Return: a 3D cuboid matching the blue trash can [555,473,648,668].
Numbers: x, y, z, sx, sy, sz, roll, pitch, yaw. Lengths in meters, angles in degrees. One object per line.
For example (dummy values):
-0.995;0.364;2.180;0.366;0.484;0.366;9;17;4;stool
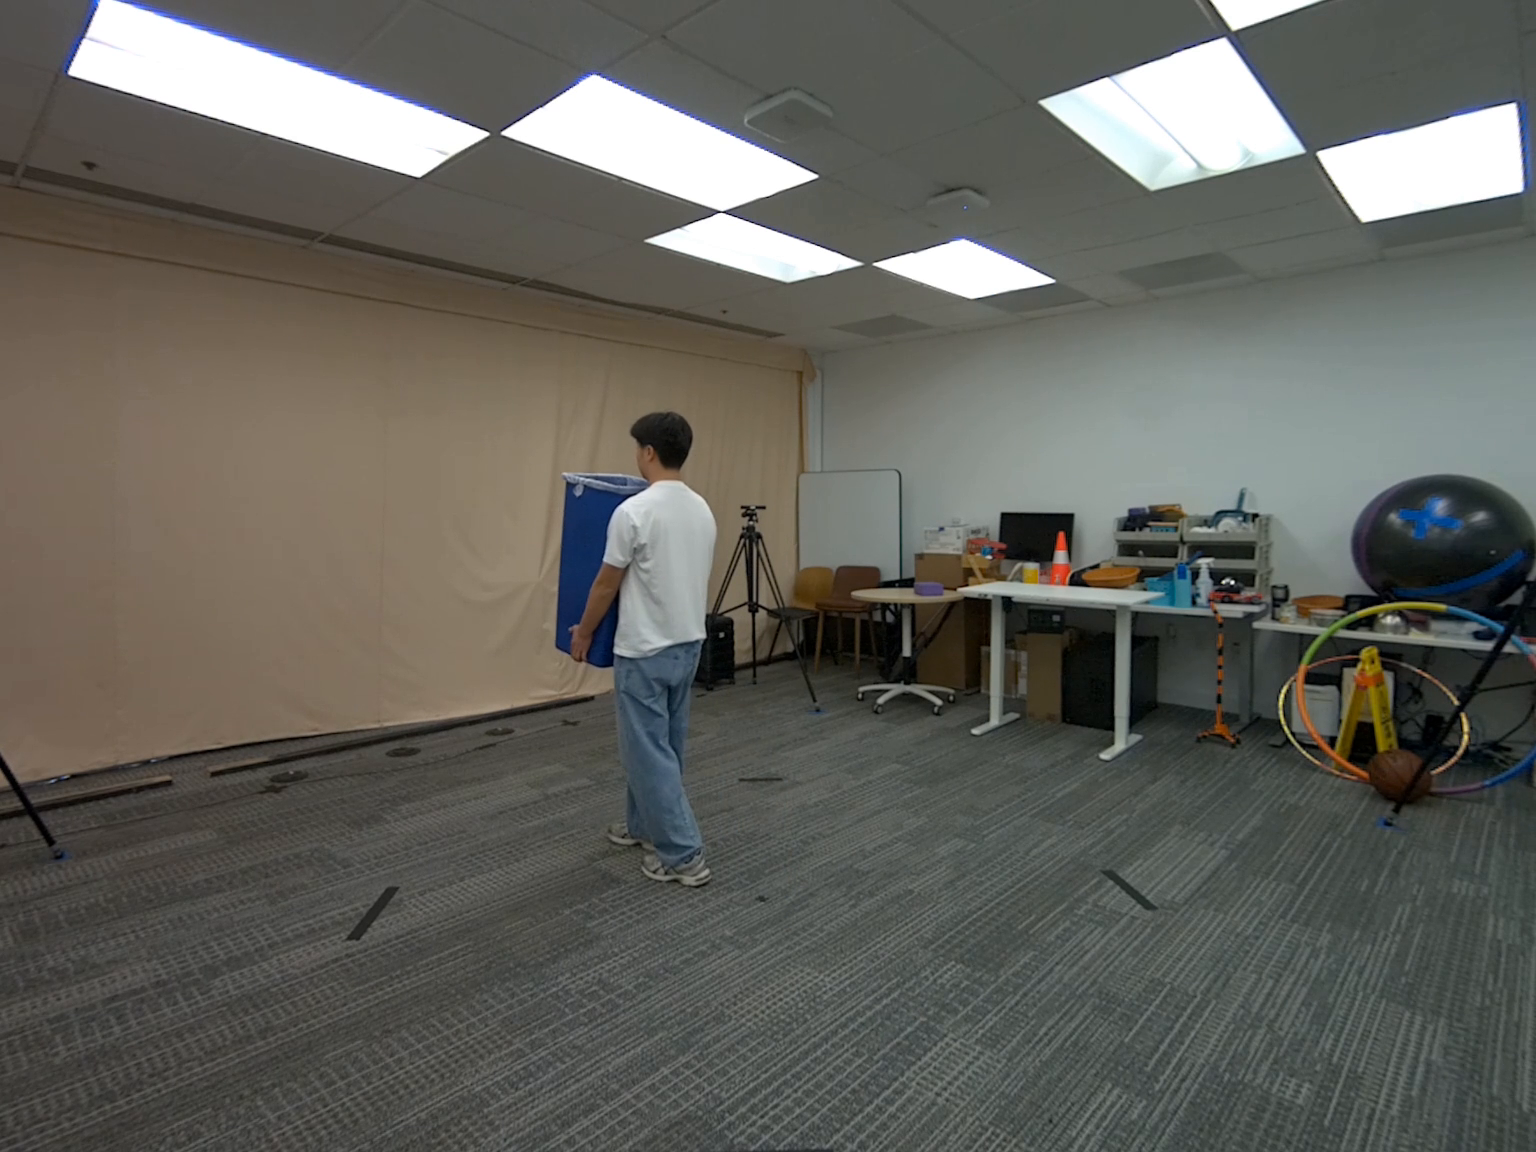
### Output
-0.632;-0.039;3.411;0.391;0.710;0.363;16;13;38;blue trash can
